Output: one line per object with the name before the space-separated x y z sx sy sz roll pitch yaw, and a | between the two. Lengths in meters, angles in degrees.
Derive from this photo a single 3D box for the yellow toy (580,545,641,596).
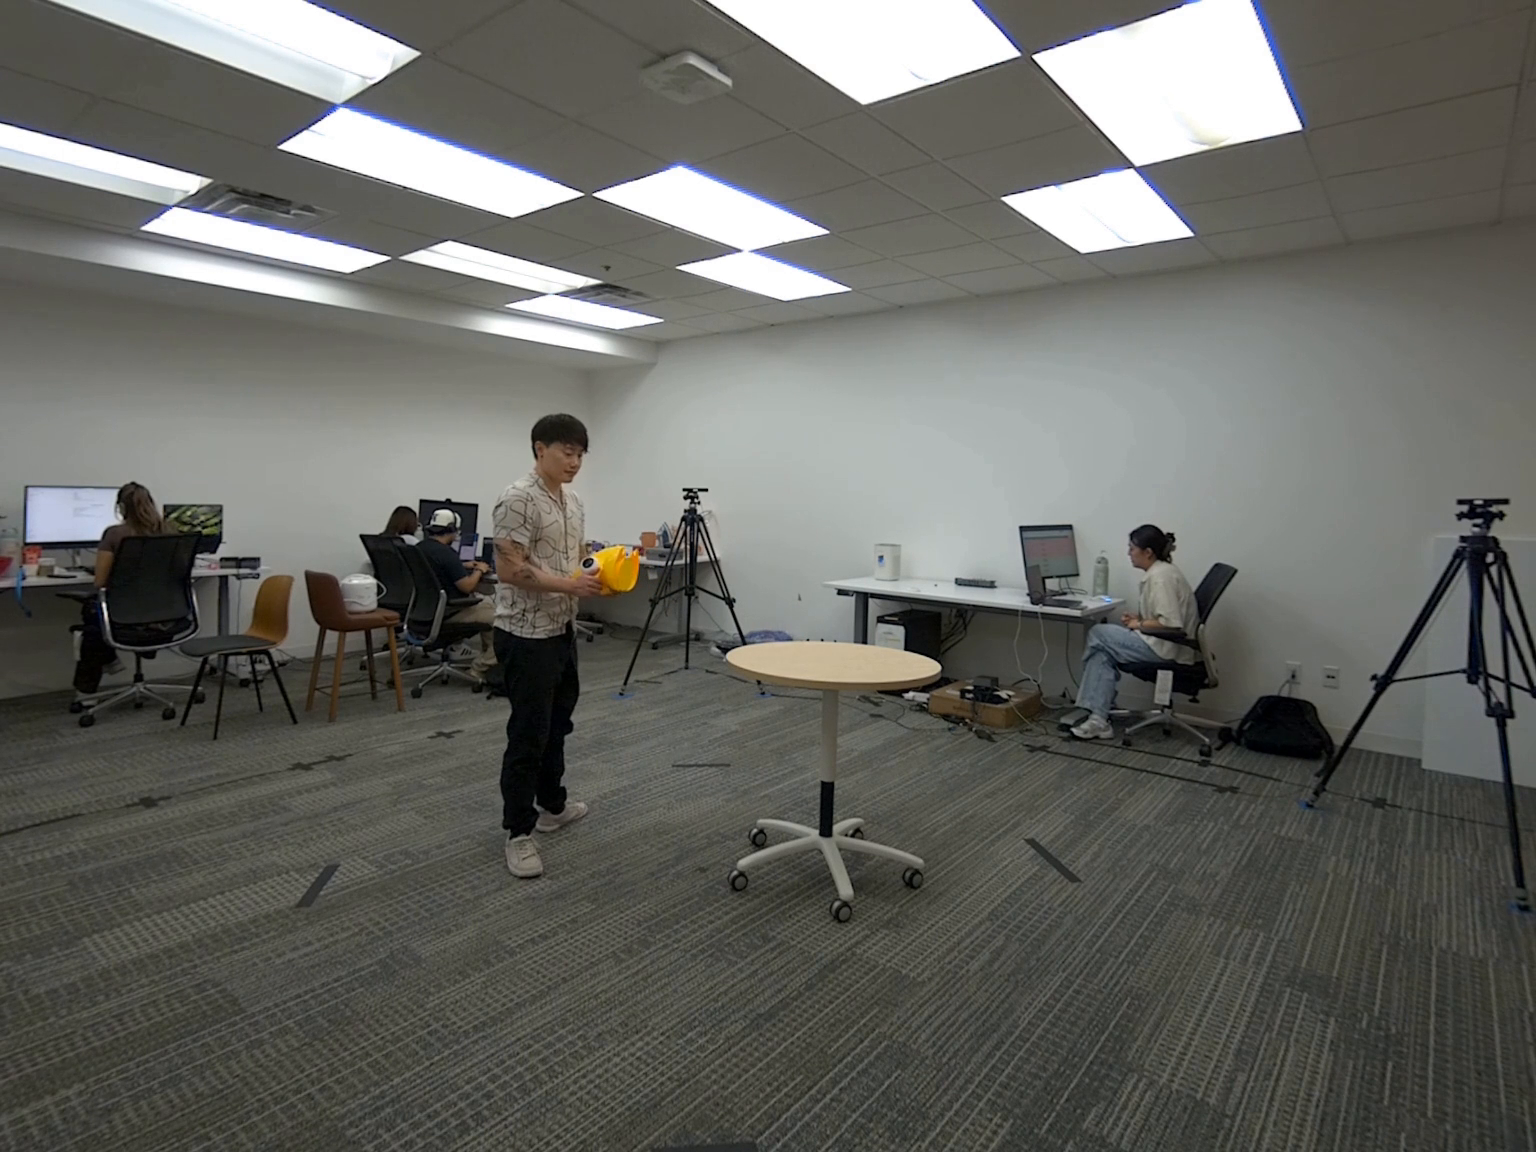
yellow toy | -0.648 -0.030 3.210 0.236 0.193 0.200 10 0 19
